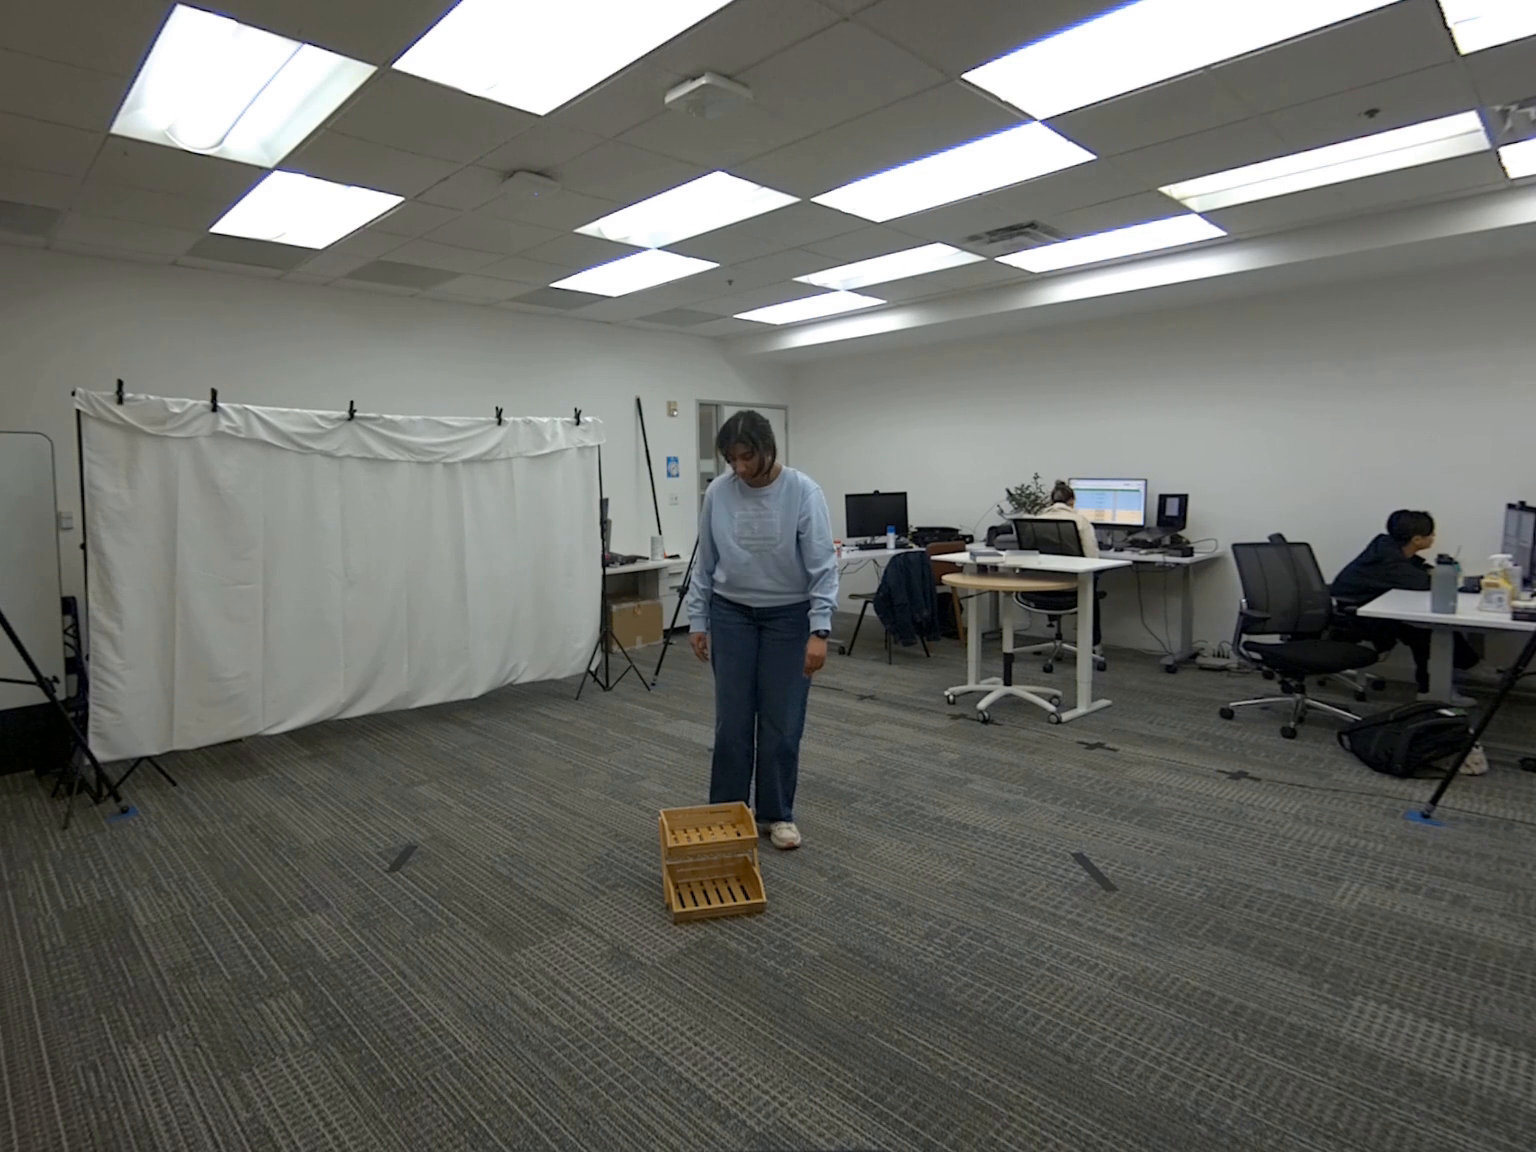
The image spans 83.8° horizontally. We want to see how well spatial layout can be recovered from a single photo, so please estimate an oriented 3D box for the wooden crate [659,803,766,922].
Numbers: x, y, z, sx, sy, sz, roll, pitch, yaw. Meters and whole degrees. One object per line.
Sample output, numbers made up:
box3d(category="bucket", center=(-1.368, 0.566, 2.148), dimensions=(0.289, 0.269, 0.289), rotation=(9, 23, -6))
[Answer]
box3d(category="wooden crate", center=(-0.188, 0.943, 2.844), dimensions=(0.320, 0.272, 0.307), rotation=(-3, 5, -14))
